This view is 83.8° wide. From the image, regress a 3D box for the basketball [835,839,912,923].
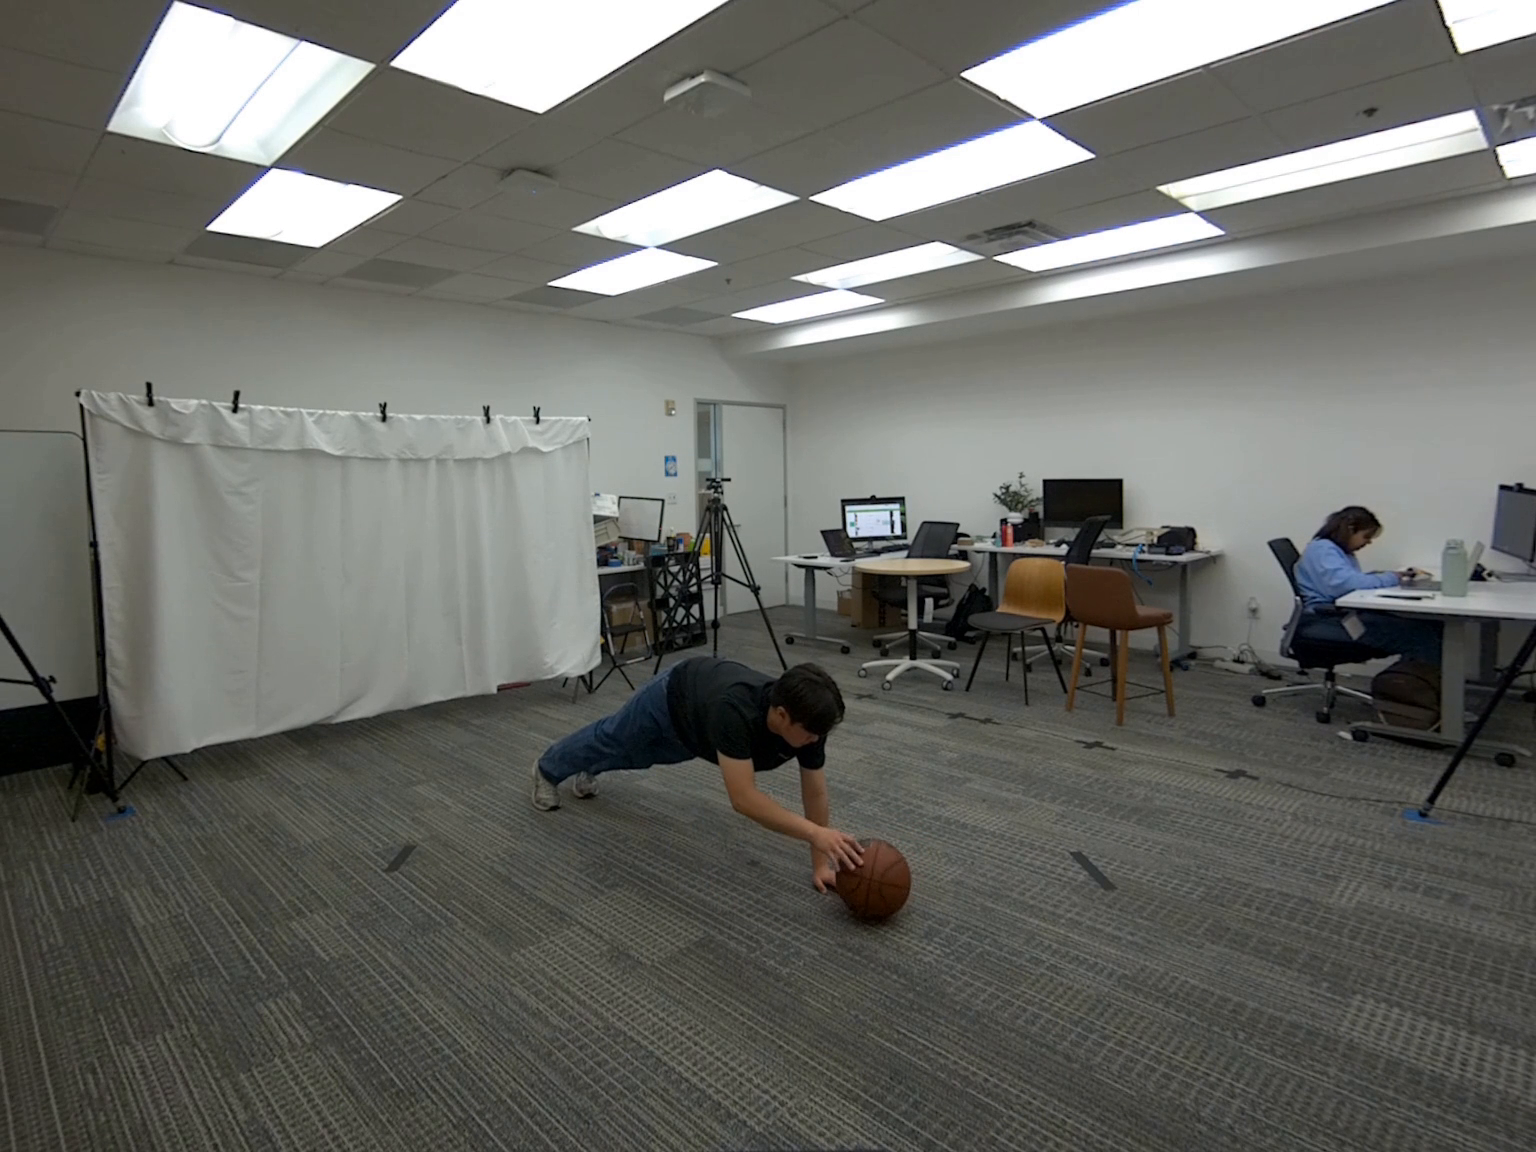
[{"bbox_3d":[0.335,0.957,2.718,0.236,0.235,0.237,-1,5,-2],"label":"basketball"}]
